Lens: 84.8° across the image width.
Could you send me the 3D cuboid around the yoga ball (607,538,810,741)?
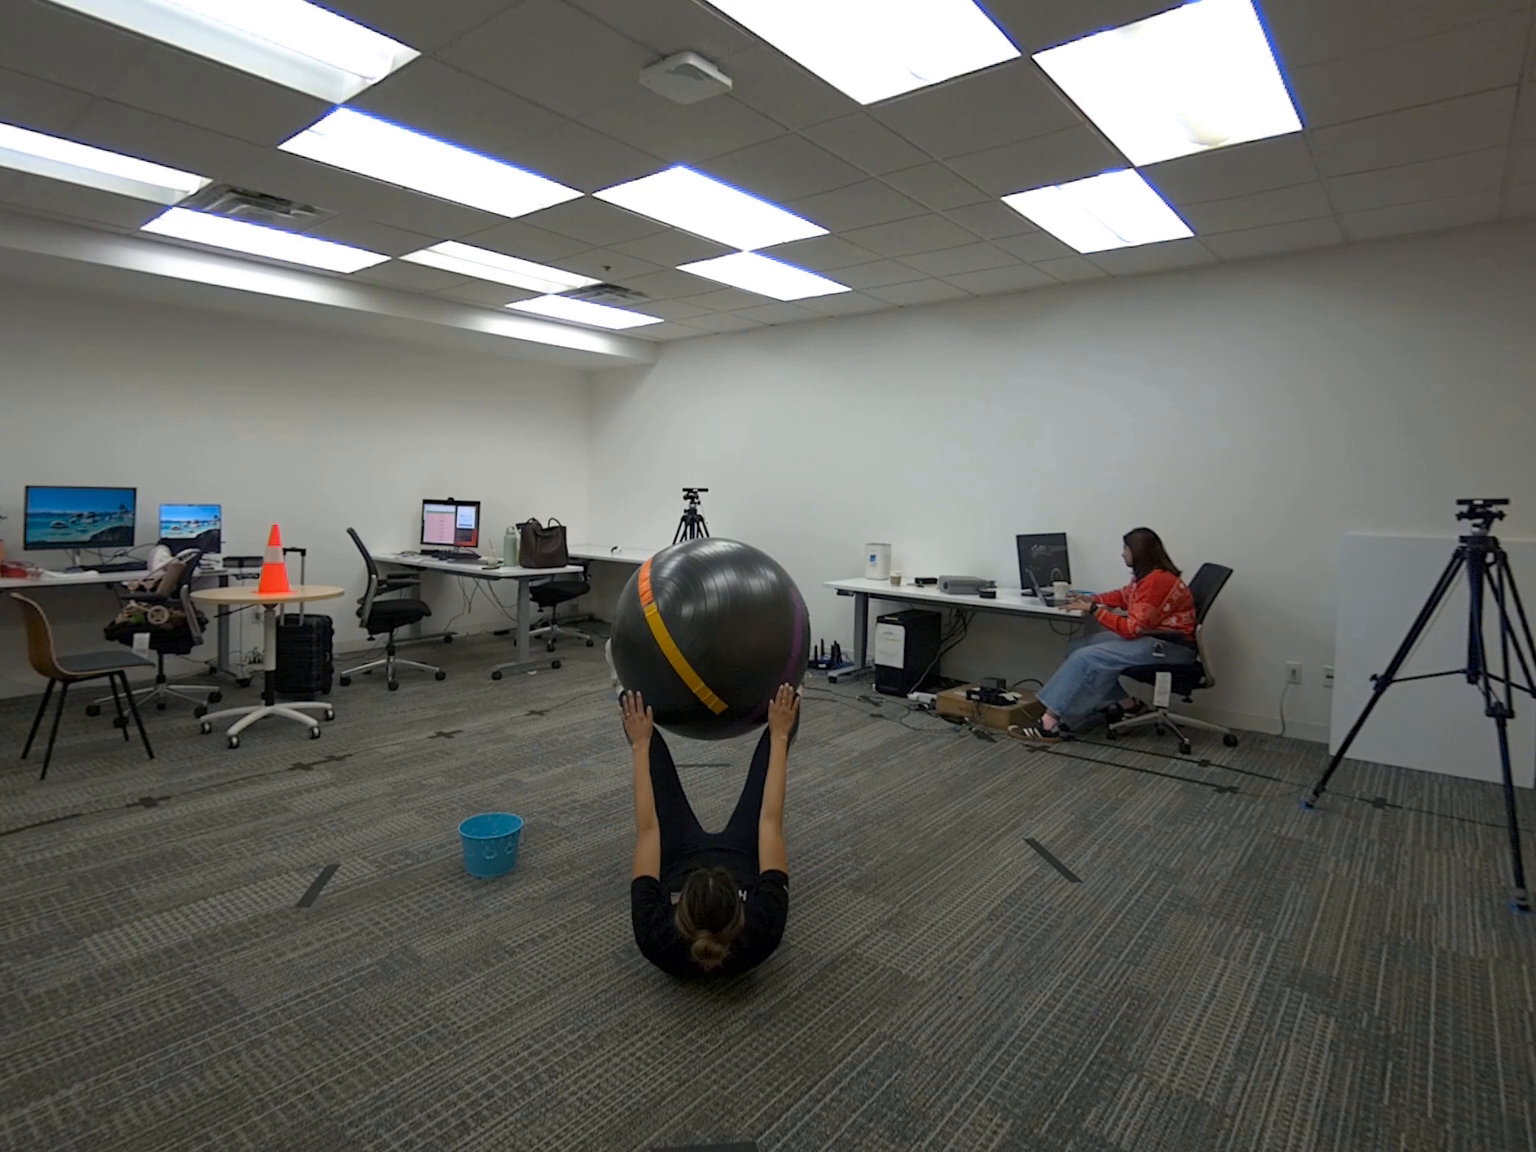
[{"bbox_3d":[-0.219,0.236,3.212,0.757,0.756,0.762,1,4,-2],"label":"yoga ball"}]
